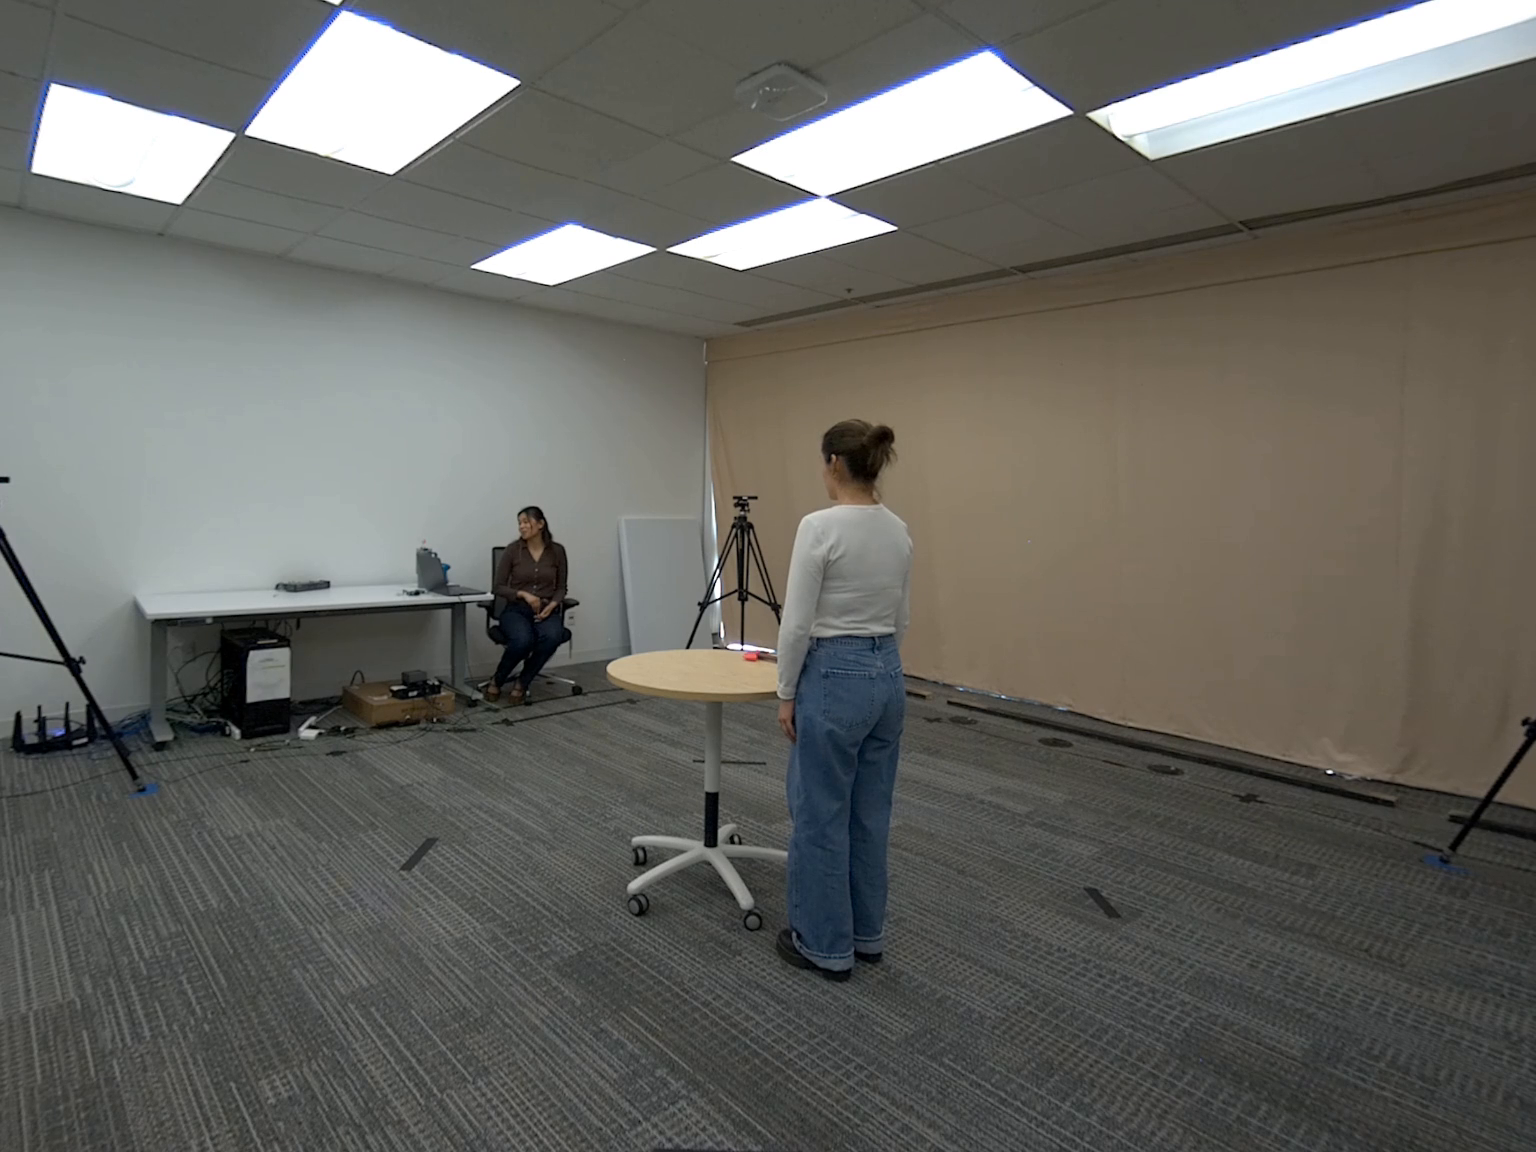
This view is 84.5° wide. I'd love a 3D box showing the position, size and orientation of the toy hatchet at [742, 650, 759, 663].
[{"bbox_3d":[-0.010,0.317,3.112,0.129,0.029,0.276,-2,7,-25],"label":"toy hatchet"}]
